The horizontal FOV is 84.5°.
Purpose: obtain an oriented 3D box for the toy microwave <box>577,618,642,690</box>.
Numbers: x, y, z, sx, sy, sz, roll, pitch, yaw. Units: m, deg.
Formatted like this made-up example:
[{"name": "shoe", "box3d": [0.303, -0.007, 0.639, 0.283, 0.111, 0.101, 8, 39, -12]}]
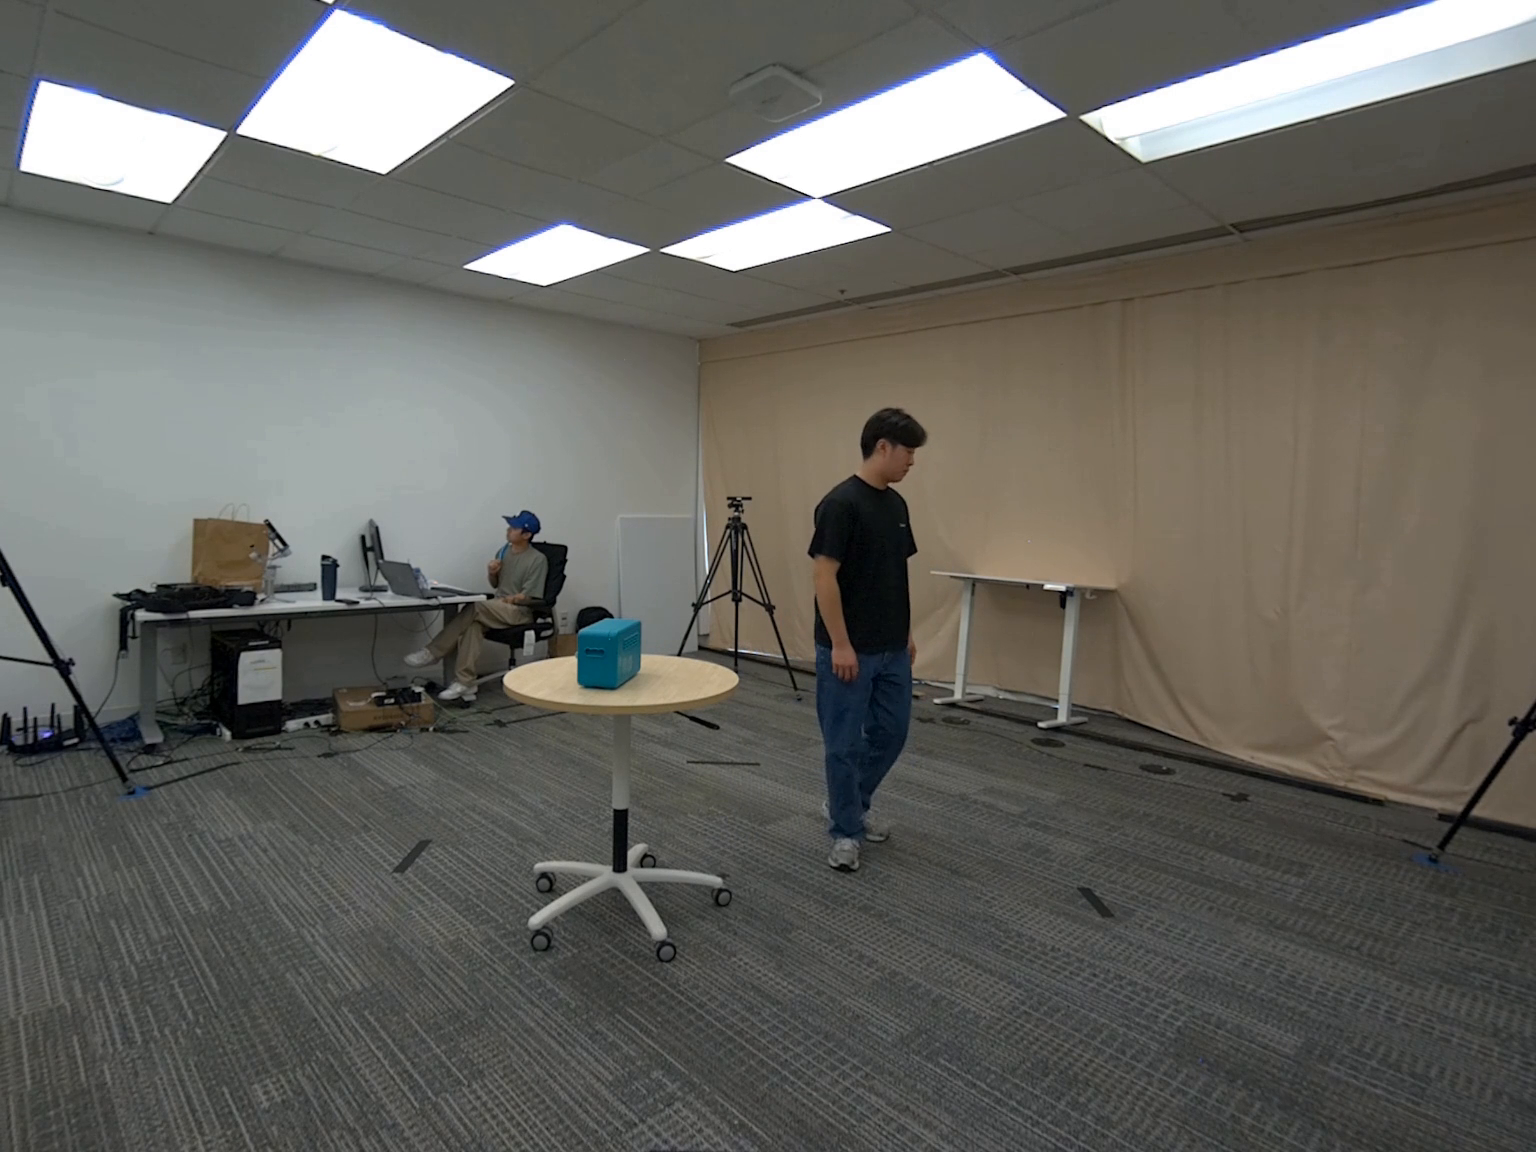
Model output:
[{"name": "toy microwave", "box3d": [-0.518, 0.243, 2.700, 0.153, 0.184, 0.285, 2, 4, 8]}]
